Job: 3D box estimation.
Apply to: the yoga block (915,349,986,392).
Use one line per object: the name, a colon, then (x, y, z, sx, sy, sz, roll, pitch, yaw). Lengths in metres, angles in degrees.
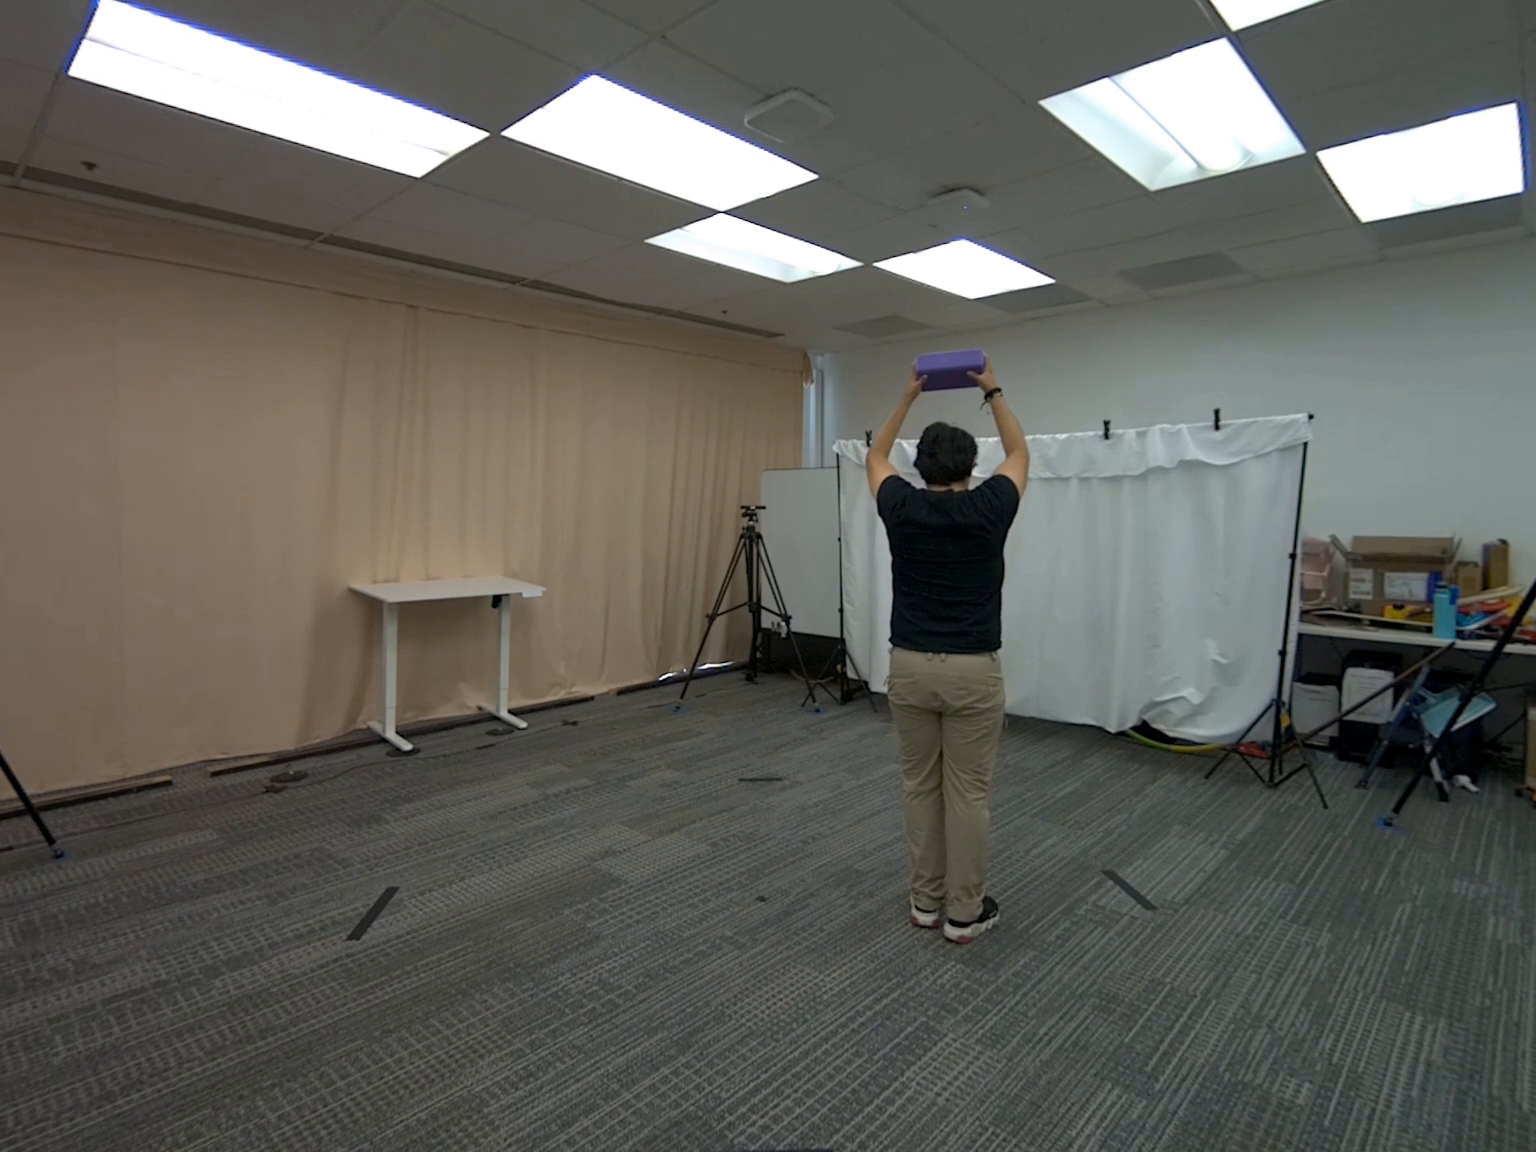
yoga block: (0.654, -0.735, 2.989, 0.233, 0.077, 0.145, -2, -19, 16)
